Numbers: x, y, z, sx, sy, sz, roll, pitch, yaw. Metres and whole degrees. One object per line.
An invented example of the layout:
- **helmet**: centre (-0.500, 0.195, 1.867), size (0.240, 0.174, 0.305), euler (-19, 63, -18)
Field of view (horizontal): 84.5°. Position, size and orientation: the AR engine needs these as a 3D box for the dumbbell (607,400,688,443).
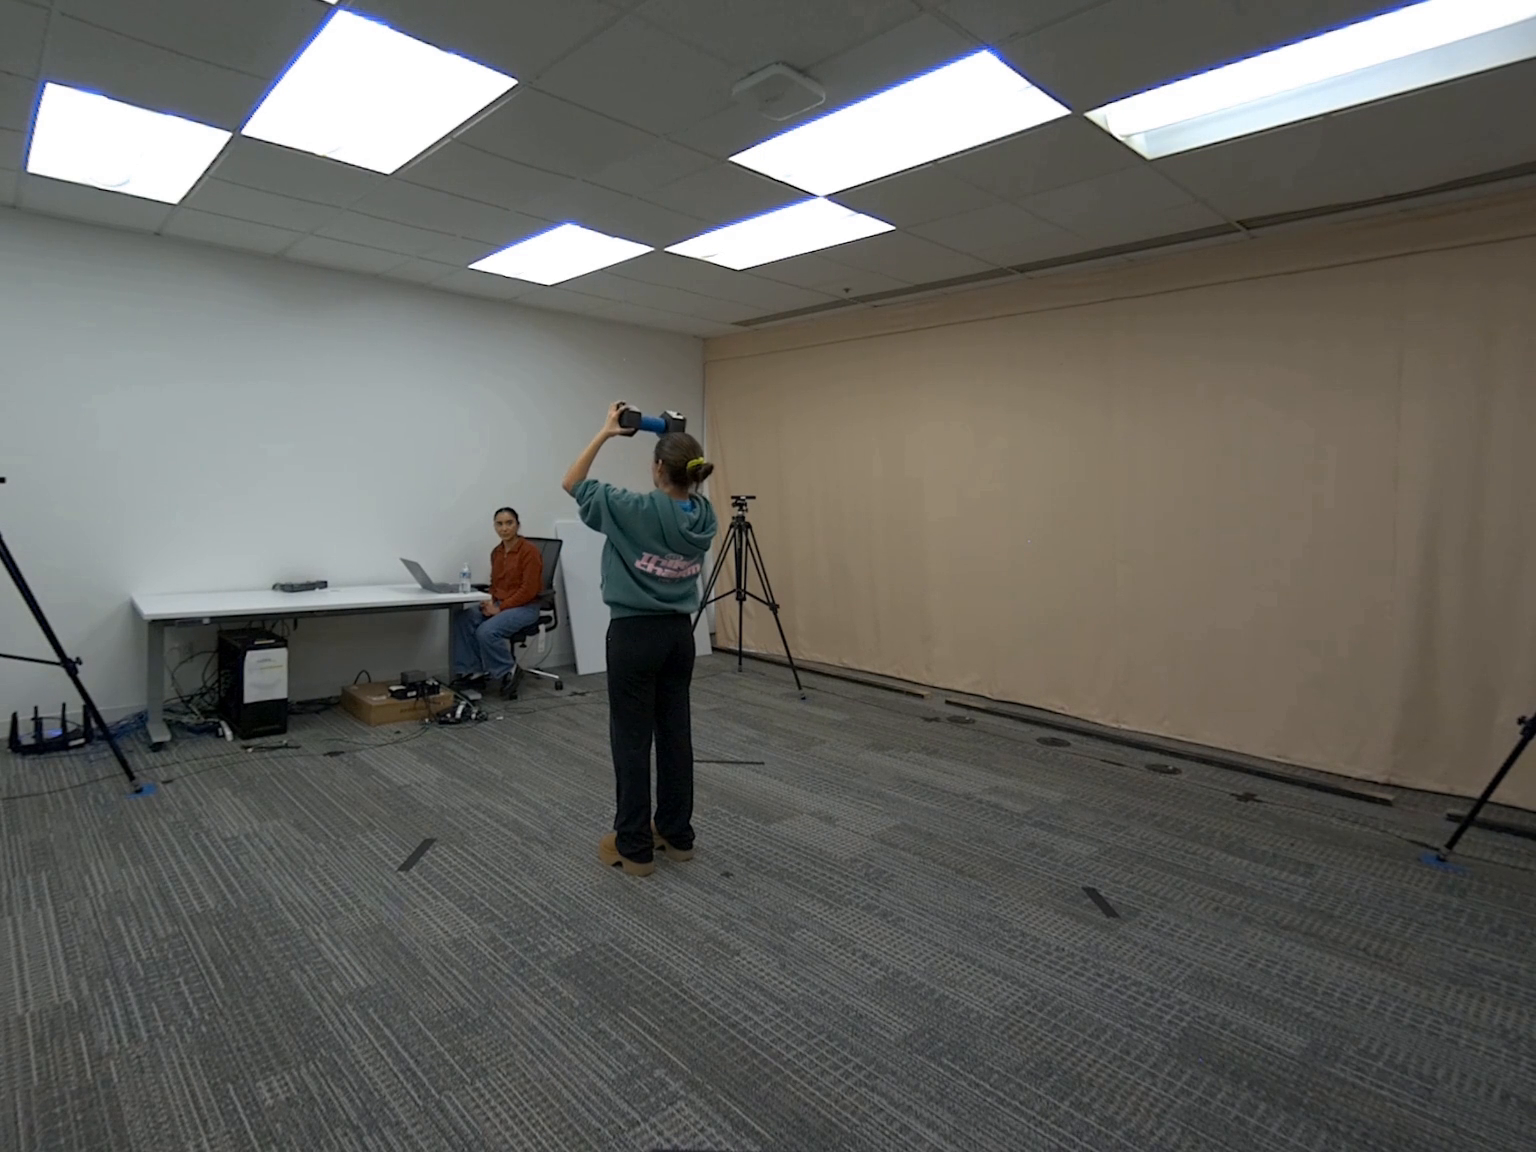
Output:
- **dumbbell**: centre (-0.462, -0.584, 3.230), size (0.286, 0.123, 0.111), euler (1, 3, -43)
